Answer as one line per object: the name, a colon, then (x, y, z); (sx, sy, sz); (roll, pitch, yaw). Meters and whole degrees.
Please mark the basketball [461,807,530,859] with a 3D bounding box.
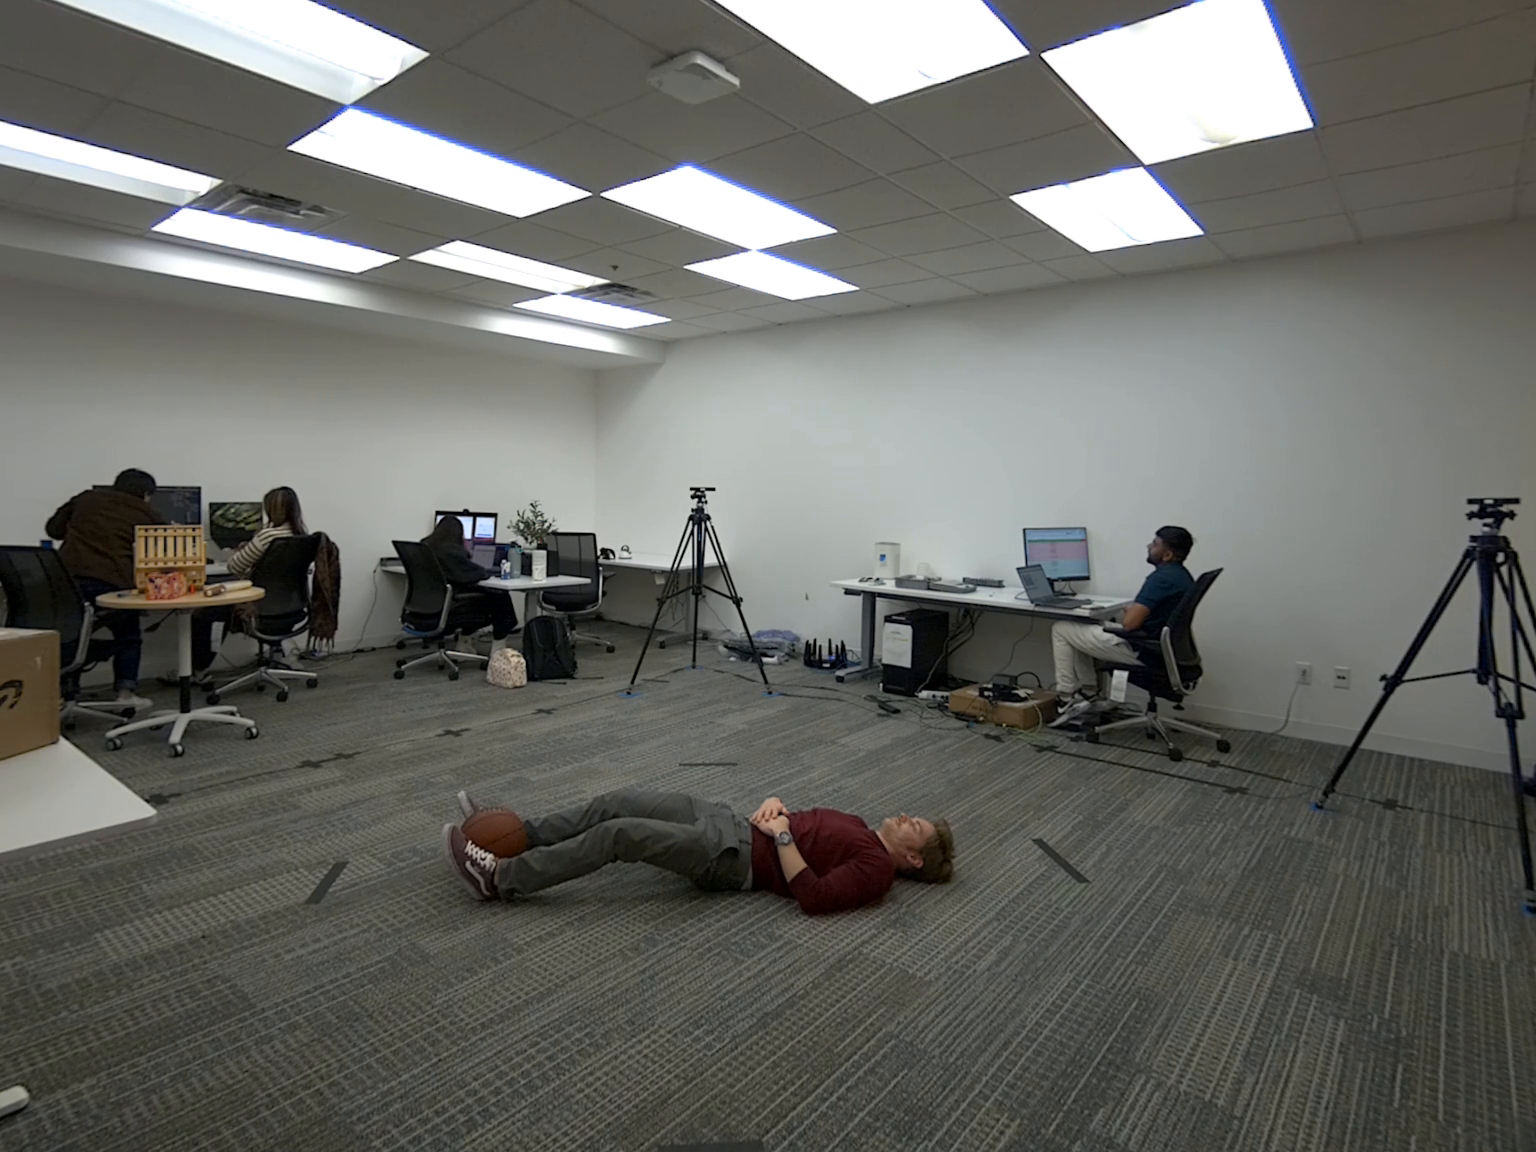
basketball: (-0.980, 0.926, 2.986); (0.236, 0.235, 0.237); (-3, 3, -2)
